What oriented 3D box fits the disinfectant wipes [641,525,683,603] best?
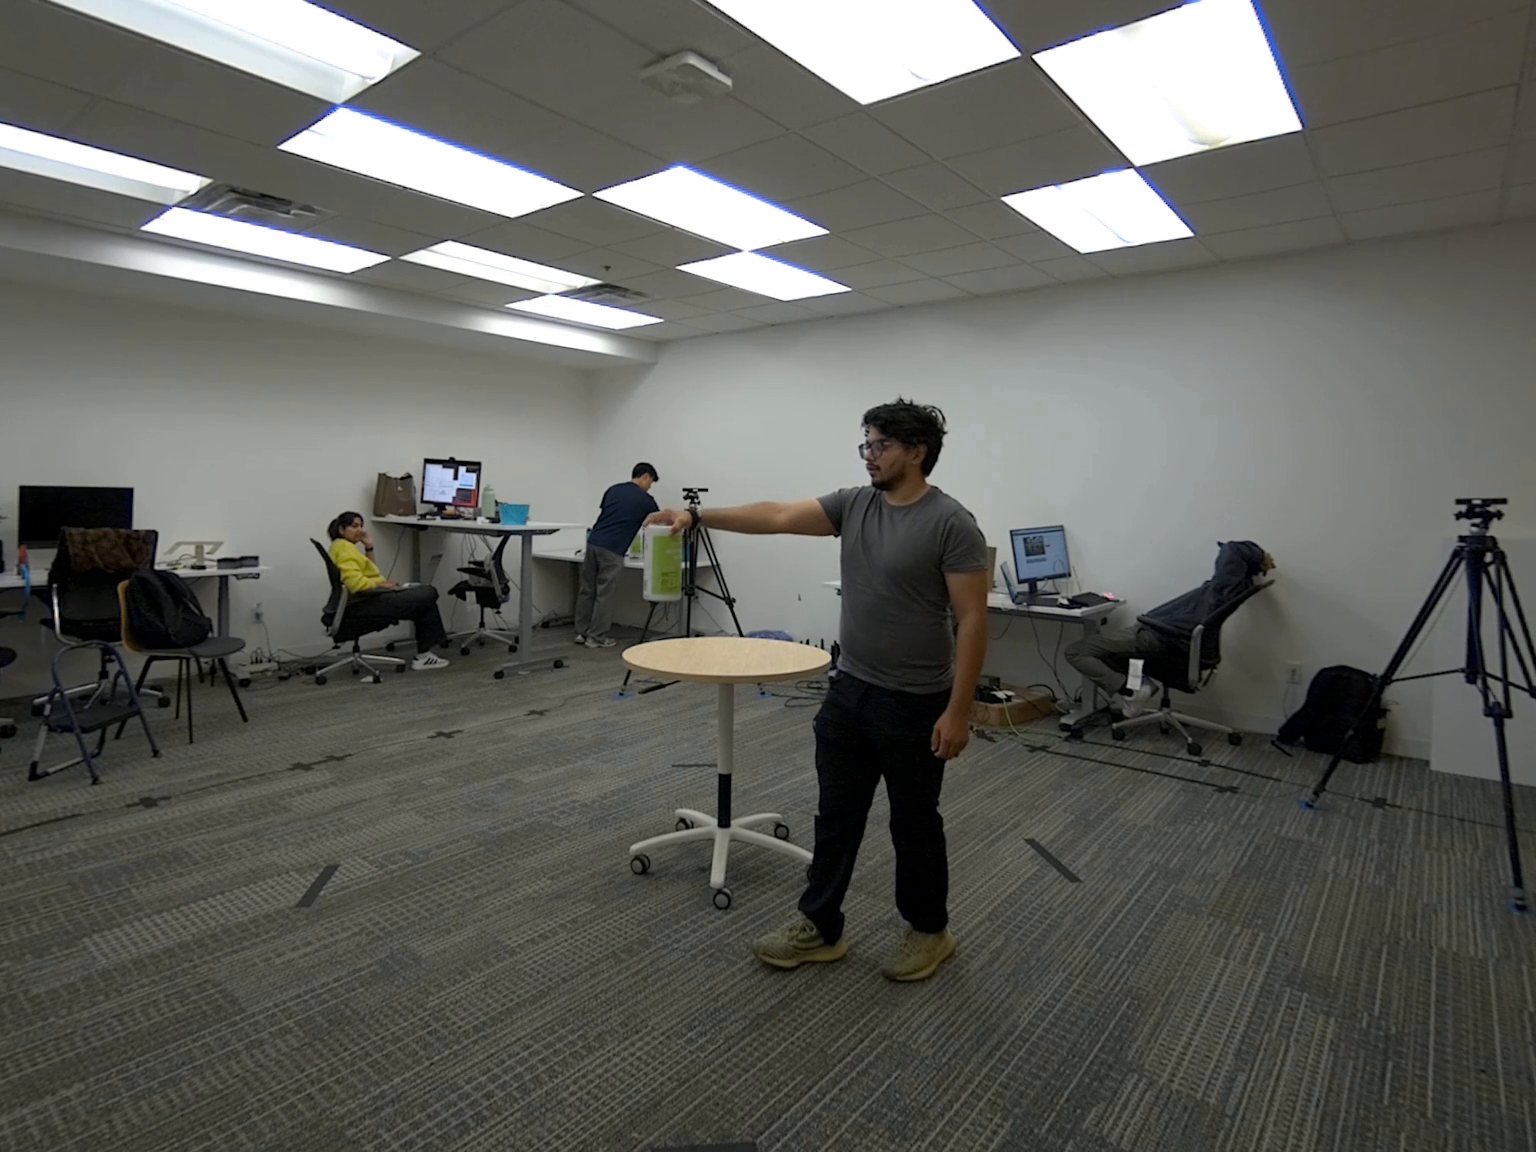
[{"bbox_3d":[-0.315,-0.042,2.444,0.118,0.217,0.118,0,3,-2],"label":"disinfectant wipes"}]
